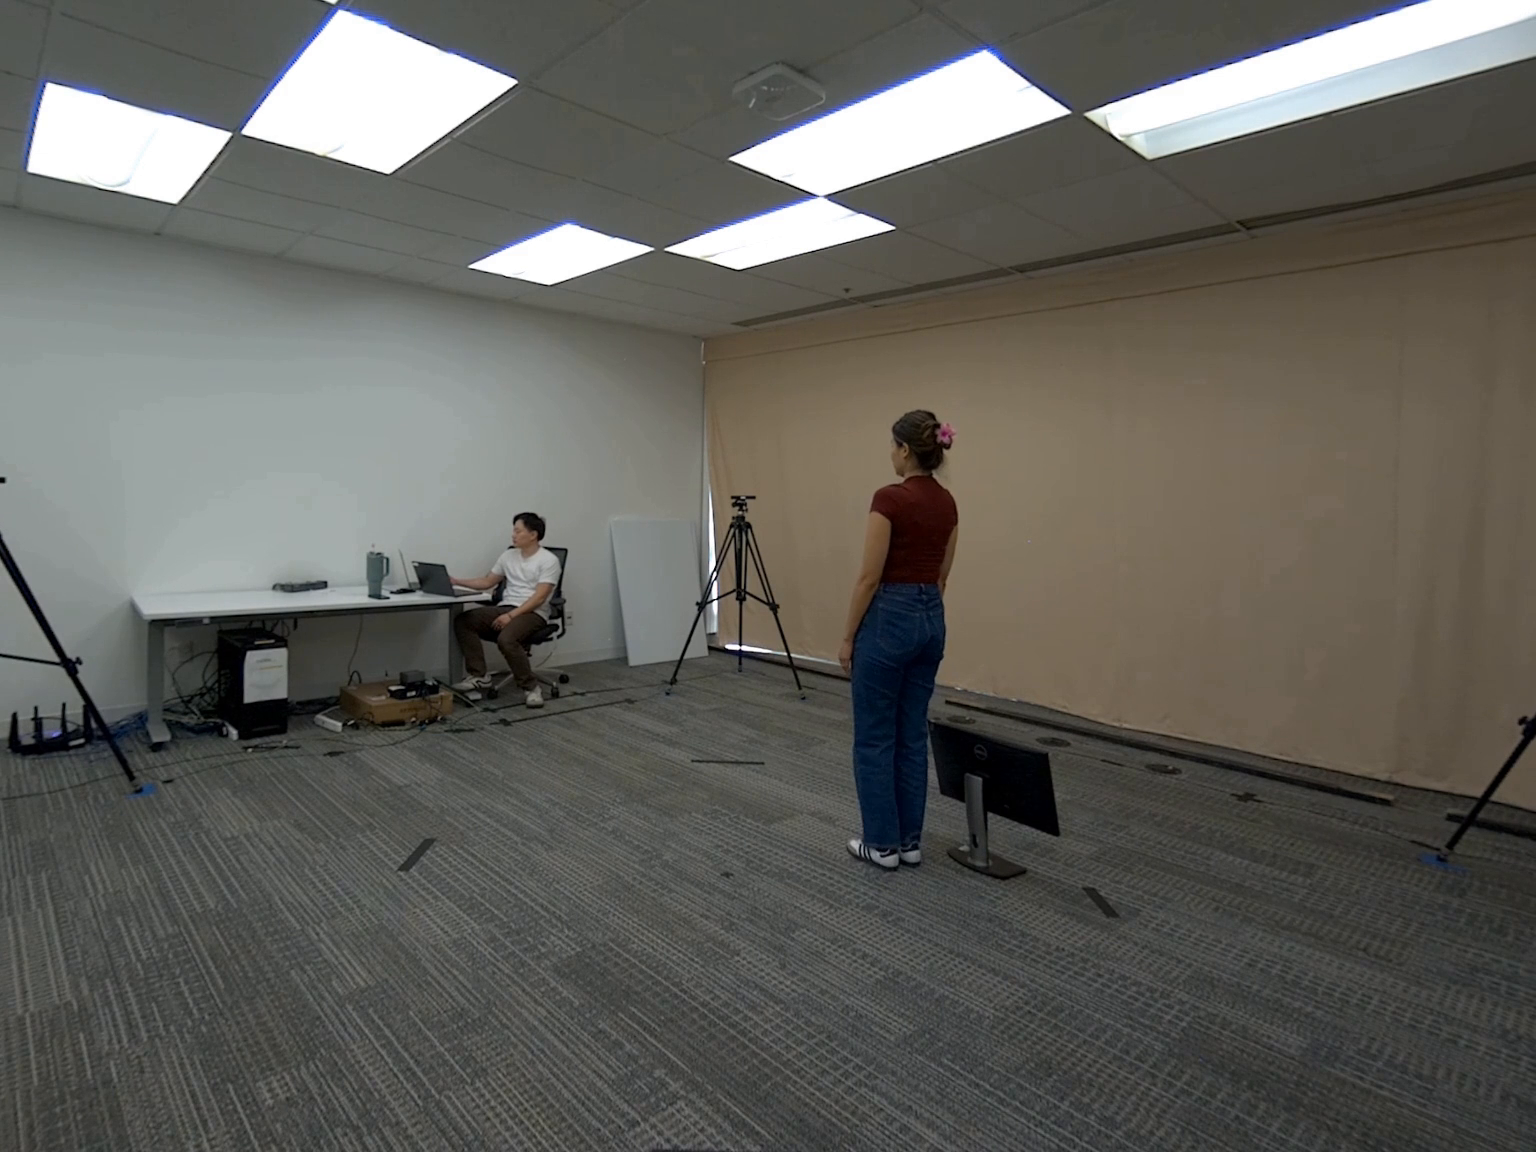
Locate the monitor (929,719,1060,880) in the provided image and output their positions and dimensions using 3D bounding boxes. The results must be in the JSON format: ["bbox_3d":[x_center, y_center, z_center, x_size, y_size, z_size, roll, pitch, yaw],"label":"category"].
[{"bbox_3d":[0.829,0.861,3.249,0.183,0.520,0.553,-5,7,-41],"label":"monitor"}]
